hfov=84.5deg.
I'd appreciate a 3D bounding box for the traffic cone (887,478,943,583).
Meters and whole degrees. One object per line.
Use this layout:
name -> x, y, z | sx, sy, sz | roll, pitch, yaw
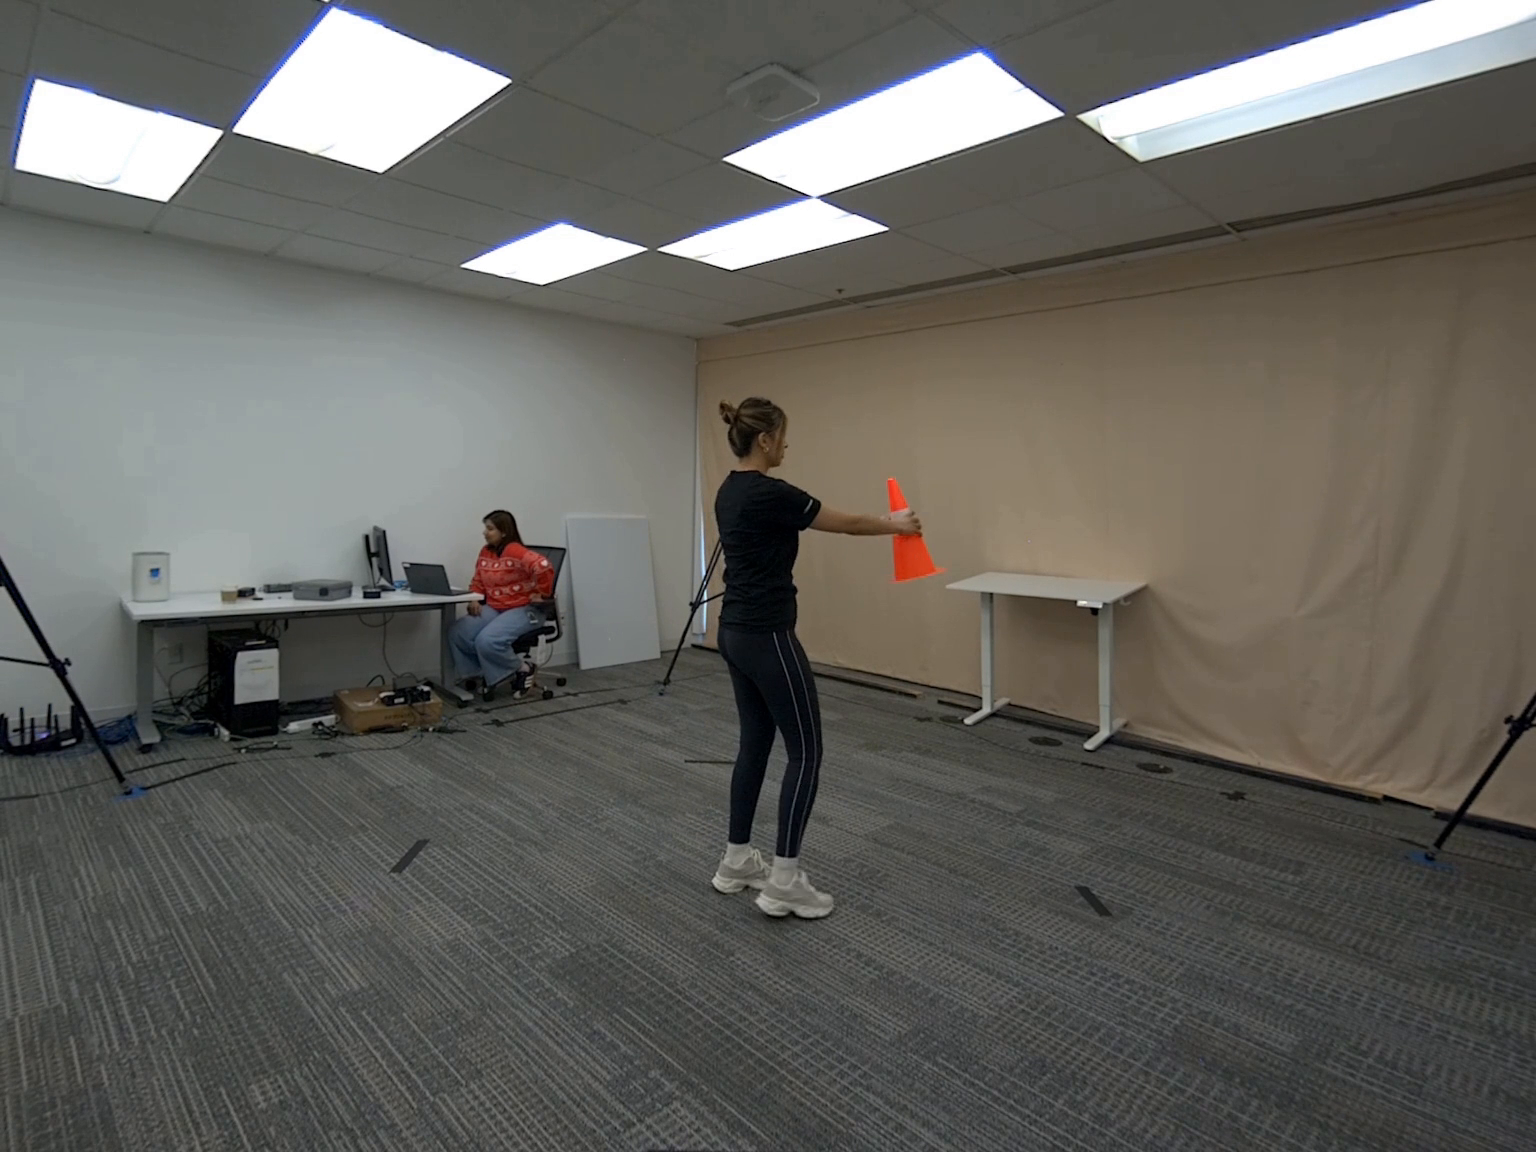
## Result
traffic cone -> 0.506, -0.185, 3.202 | 0.208, 0.383, 0.200 | -13, 2, 36
